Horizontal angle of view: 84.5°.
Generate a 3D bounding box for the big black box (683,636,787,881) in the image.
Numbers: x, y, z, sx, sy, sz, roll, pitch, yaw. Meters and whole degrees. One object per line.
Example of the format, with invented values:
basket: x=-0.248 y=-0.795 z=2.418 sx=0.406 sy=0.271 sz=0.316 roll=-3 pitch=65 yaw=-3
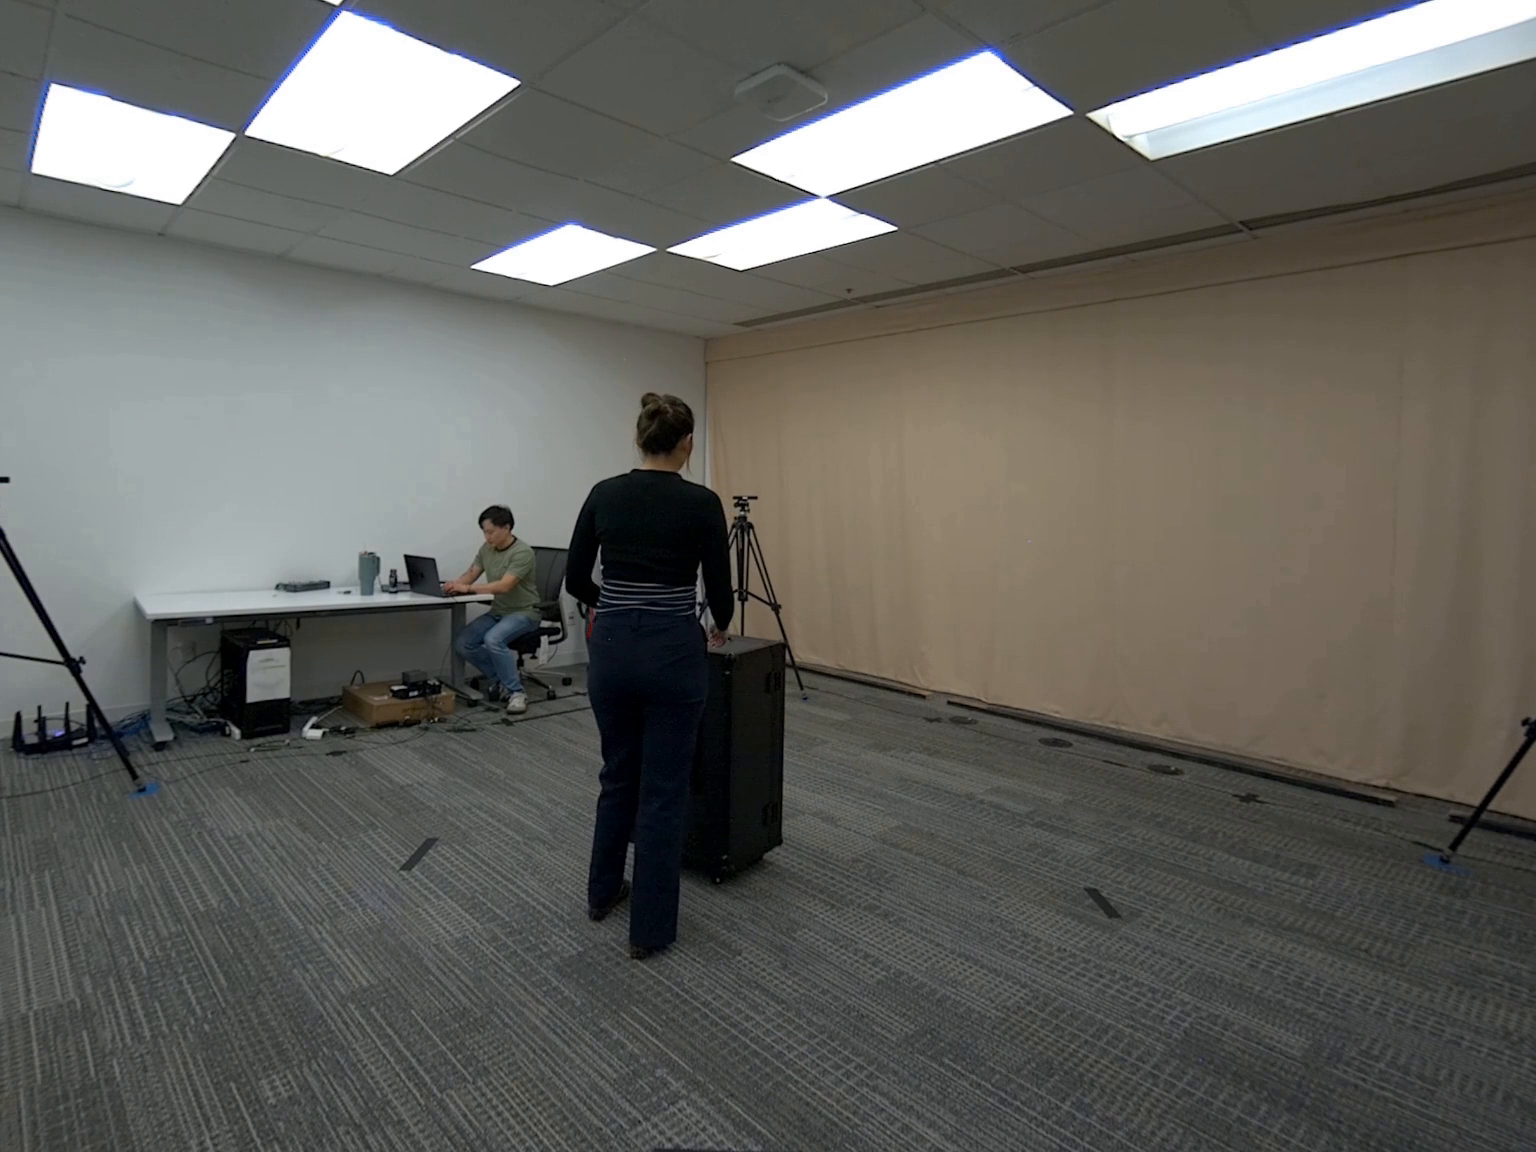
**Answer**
big black box: x=-0.241 y=0.672 z=3.184 sx=0.534 sy=0.858 sz=0.388 roll=4 pitch=6 yaw=35
